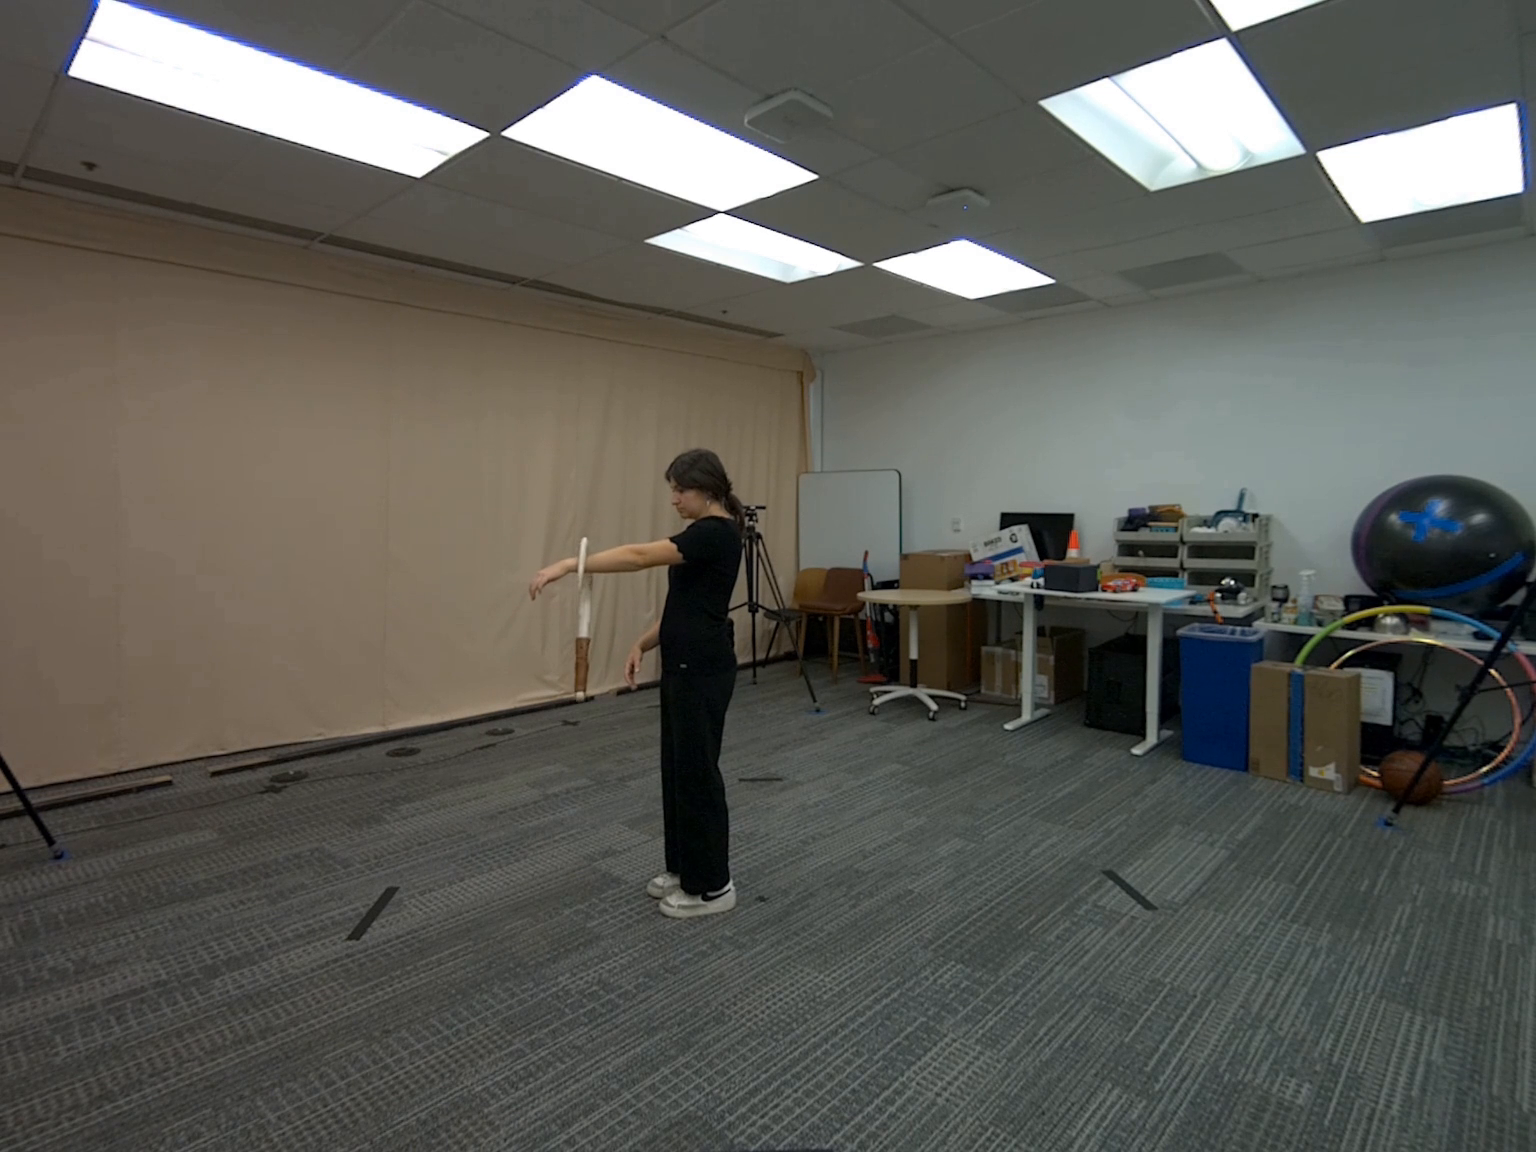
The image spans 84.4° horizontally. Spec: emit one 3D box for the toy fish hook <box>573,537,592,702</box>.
[{"bbox_3d":[-0.581,0.126,2.628,0.048,0.513,0.222,-1,-20,-5],"label":"toy fish hook"}]
